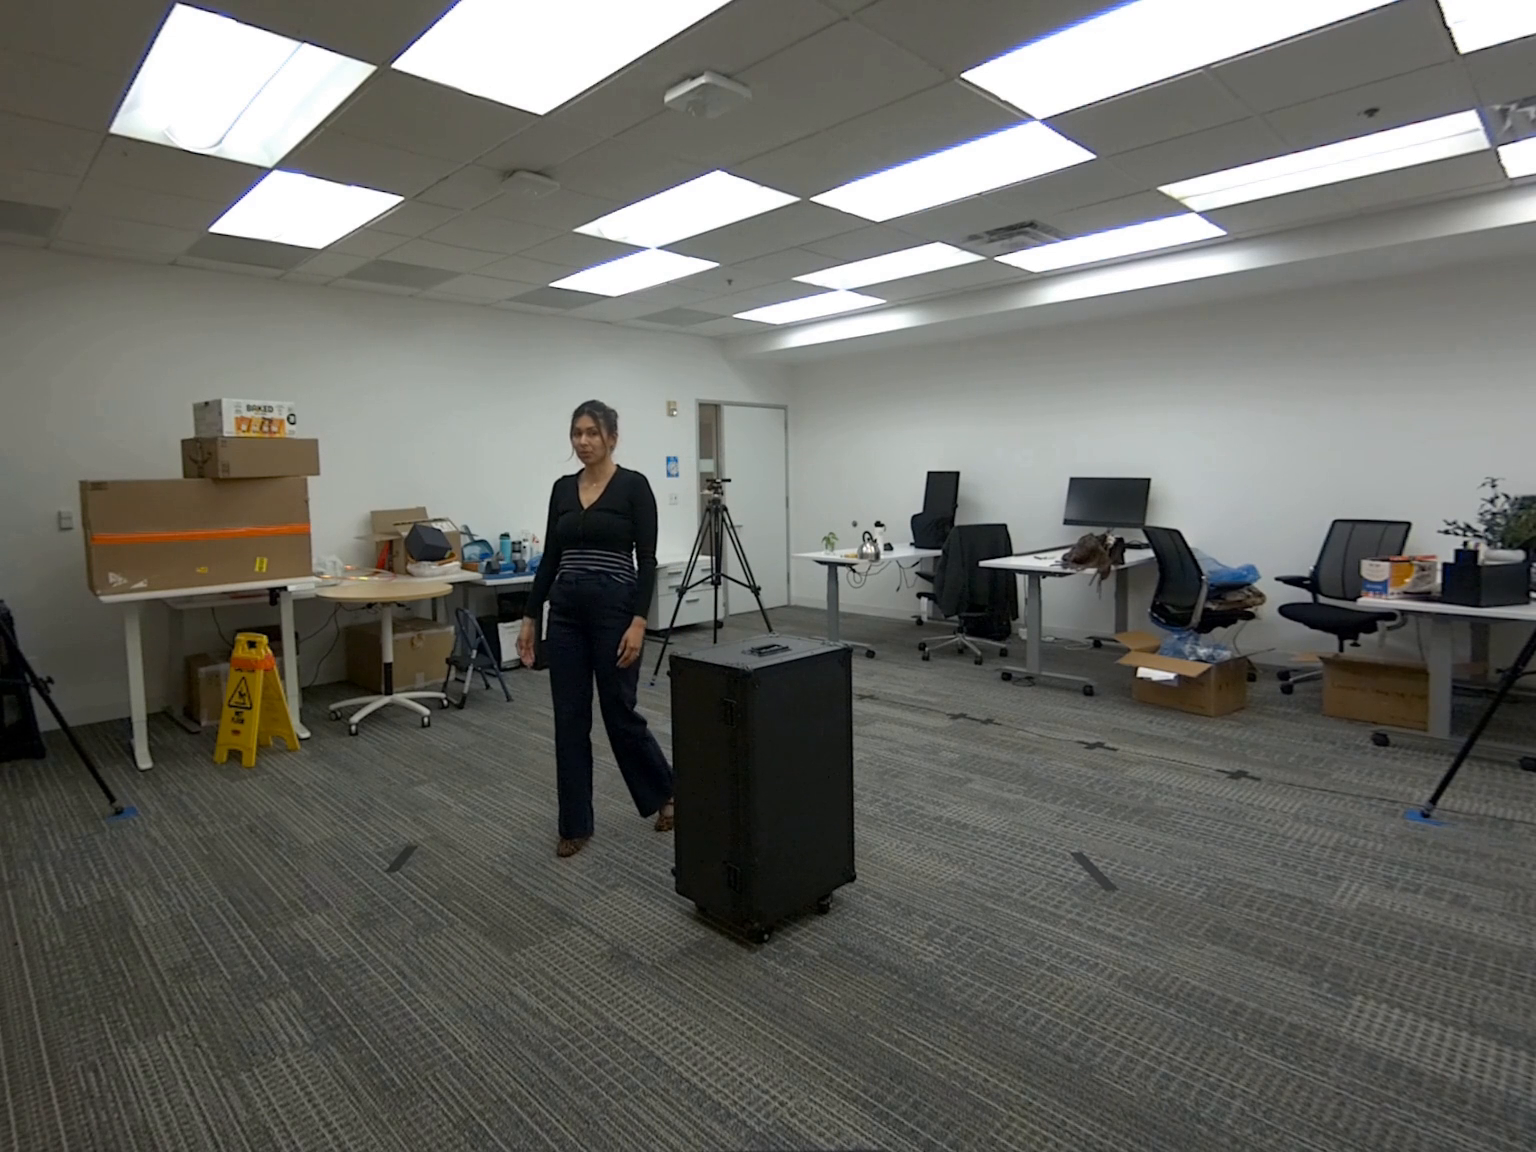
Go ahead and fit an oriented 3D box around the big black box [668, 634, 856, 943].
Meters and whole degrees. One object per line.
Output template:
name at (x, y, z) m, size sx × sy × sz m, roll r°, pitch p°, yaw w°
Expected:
big black box at (-0.013, 0.604, 2.762) m, size 0.507 × 0.858 × 0.408 m, roll -5°, pitch 6°, yaw -44°
